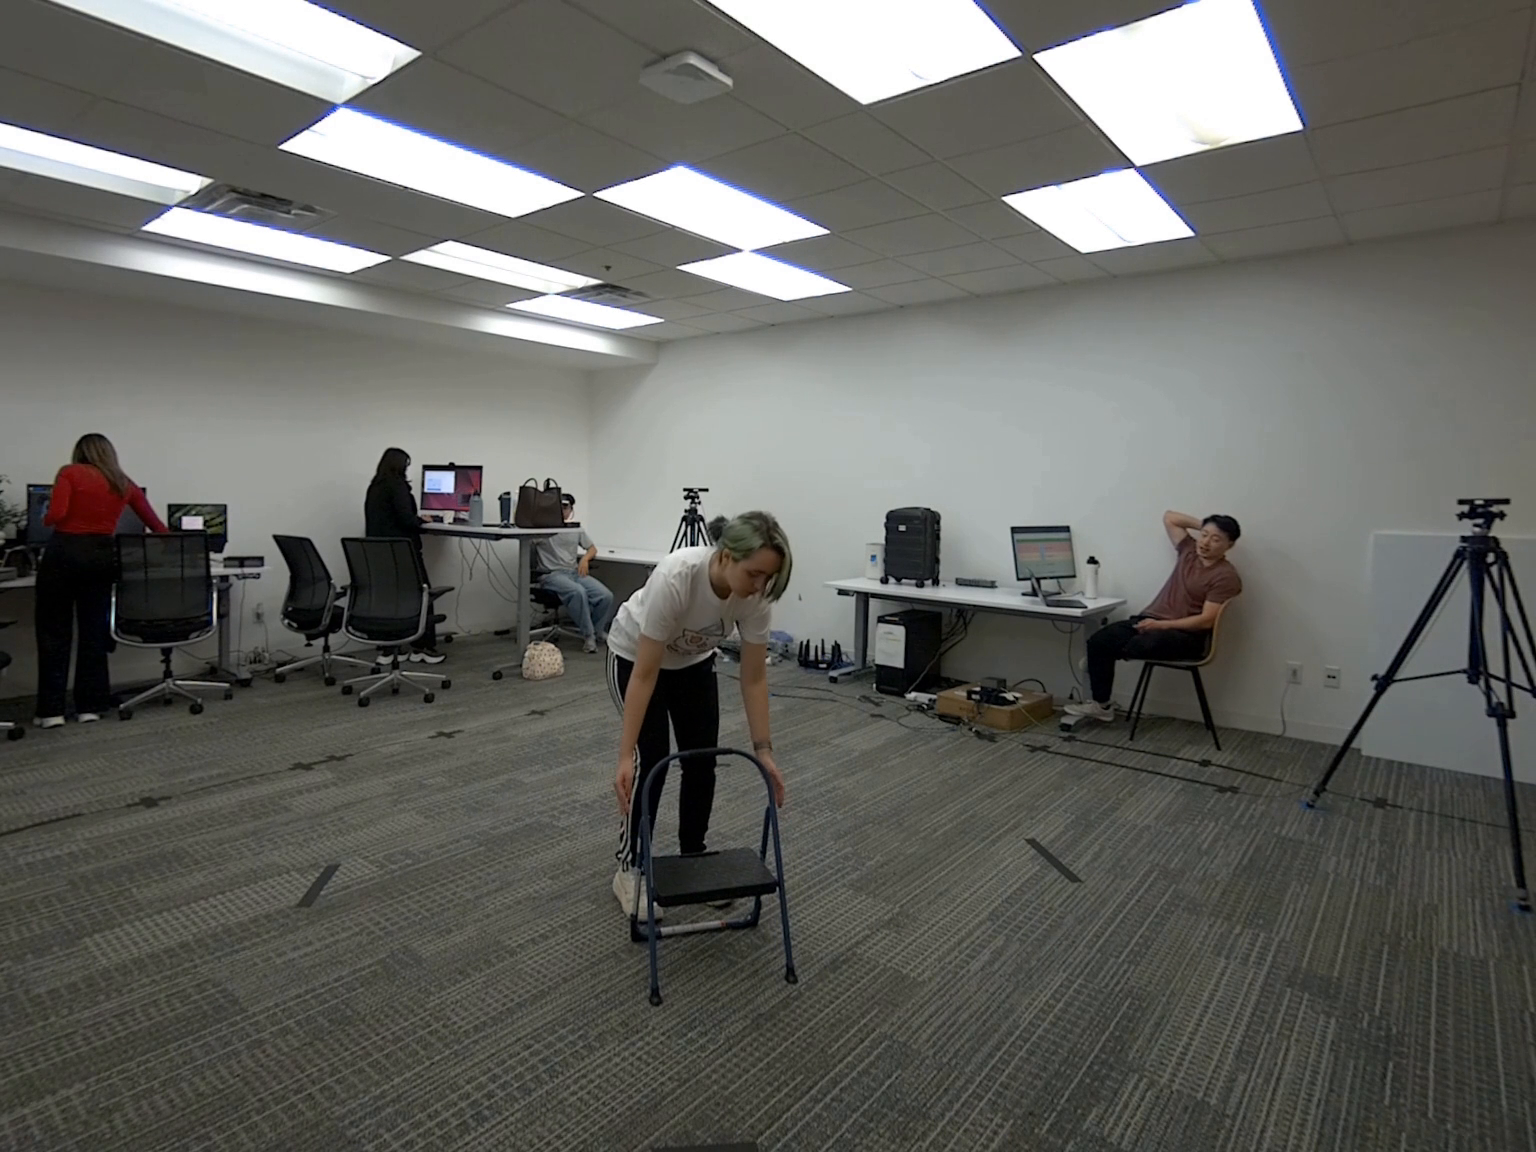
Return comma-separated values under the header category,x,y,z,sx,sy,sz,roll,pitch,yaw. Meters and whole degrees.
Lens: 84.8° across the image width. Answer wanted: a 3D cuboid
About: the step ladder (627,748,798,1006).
category,x,y,z,sx,sy,sz,roll,pitch,yaw
step ladder,-0.171,0.828,2.495,0.422,0.604,0.357,0,4,-19
